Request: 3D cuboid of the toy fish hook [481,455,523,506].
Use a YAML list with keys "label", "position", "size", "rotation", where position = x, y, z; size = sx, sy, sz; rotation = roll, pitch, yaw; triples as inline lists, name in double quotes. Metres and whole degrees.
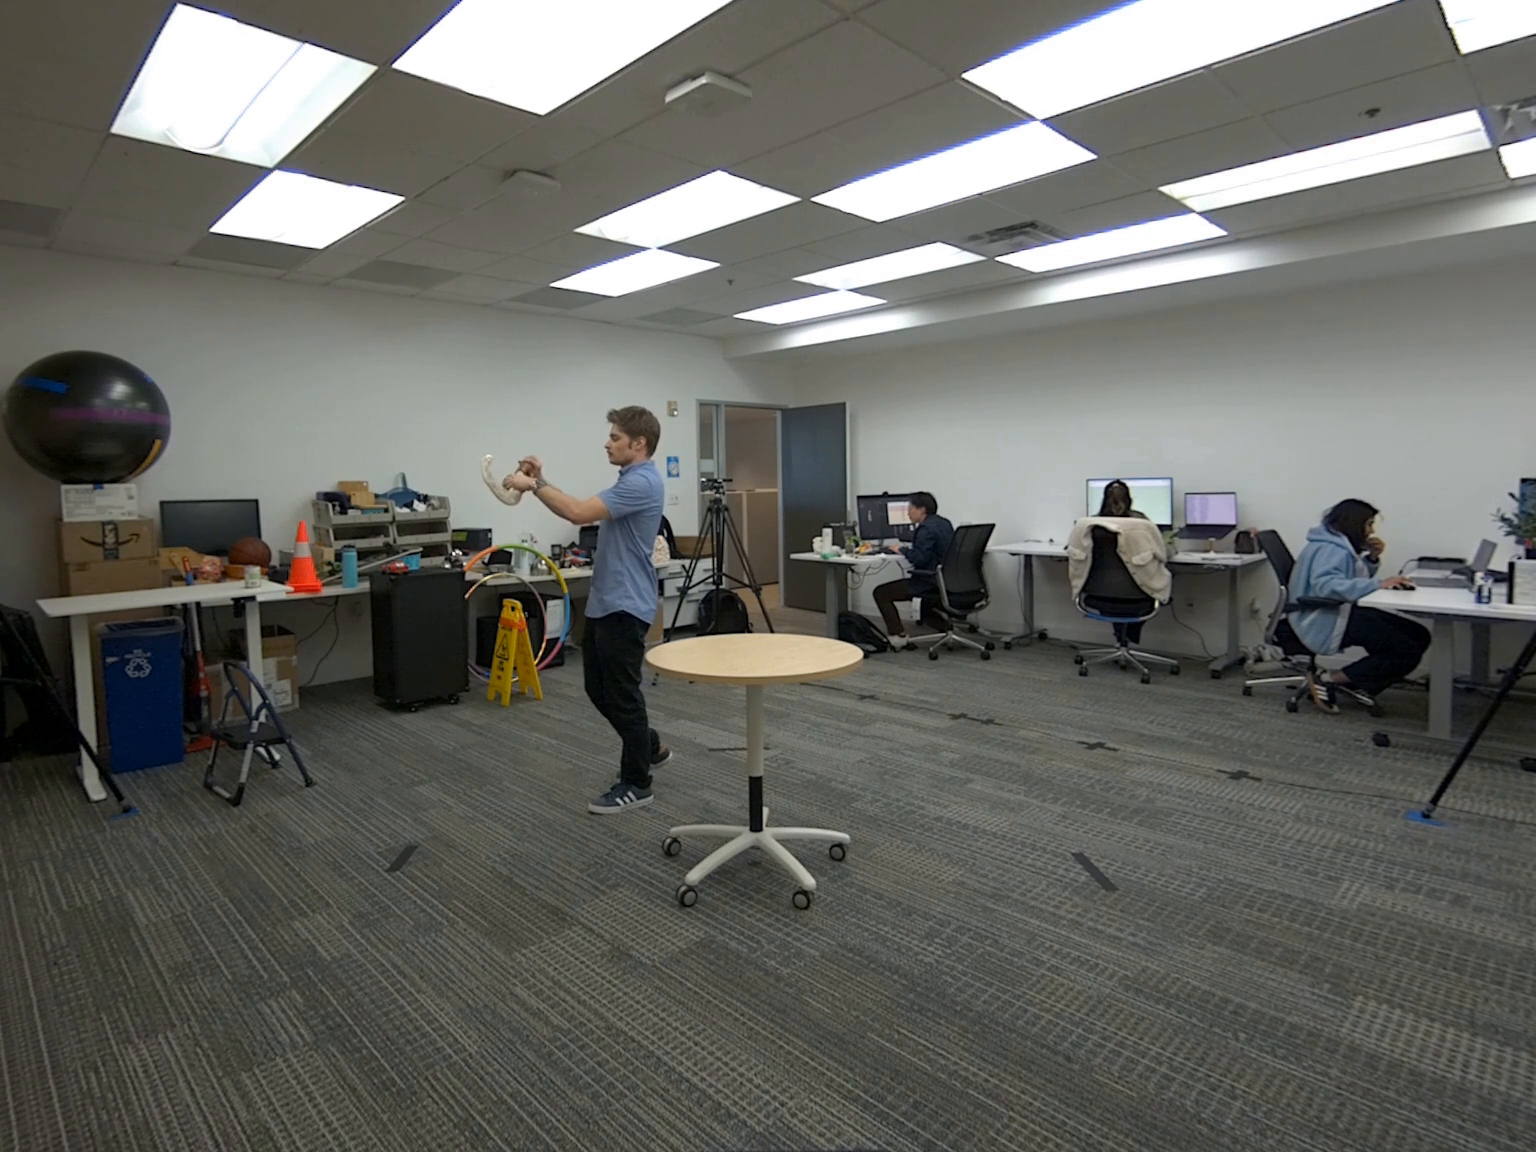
- label: "toy fish hook"
  position: [-1.070, -0.441, 3.553]
  size: [0.048, 0.219, 0.516]
  rotation: [-27, 22, 10]
